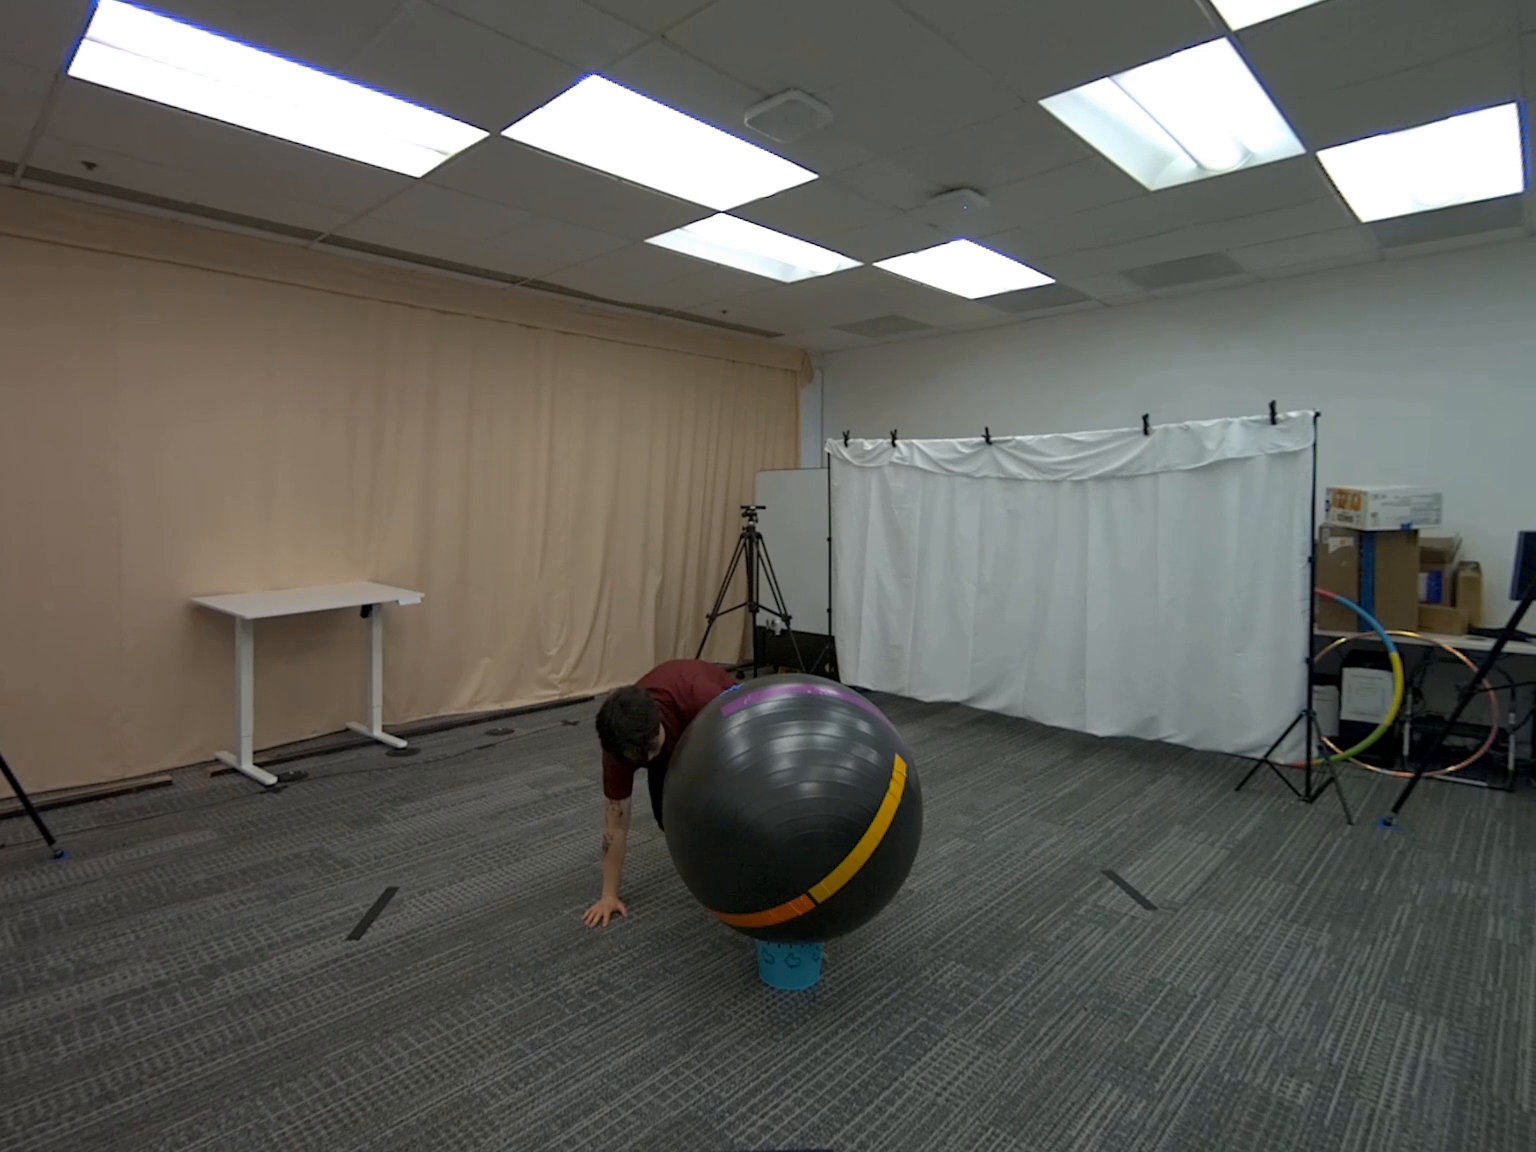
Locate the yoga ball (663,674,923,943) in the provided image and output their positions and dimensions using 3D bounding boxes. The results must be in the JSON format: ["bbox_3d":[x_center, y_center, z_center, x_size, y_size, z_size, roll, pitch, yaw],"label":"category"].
[{"bbox_3d":[0.072,0.678,2.481,0.757,0.756,0.760,0,4,-2],"label":"yoga ball"}]
